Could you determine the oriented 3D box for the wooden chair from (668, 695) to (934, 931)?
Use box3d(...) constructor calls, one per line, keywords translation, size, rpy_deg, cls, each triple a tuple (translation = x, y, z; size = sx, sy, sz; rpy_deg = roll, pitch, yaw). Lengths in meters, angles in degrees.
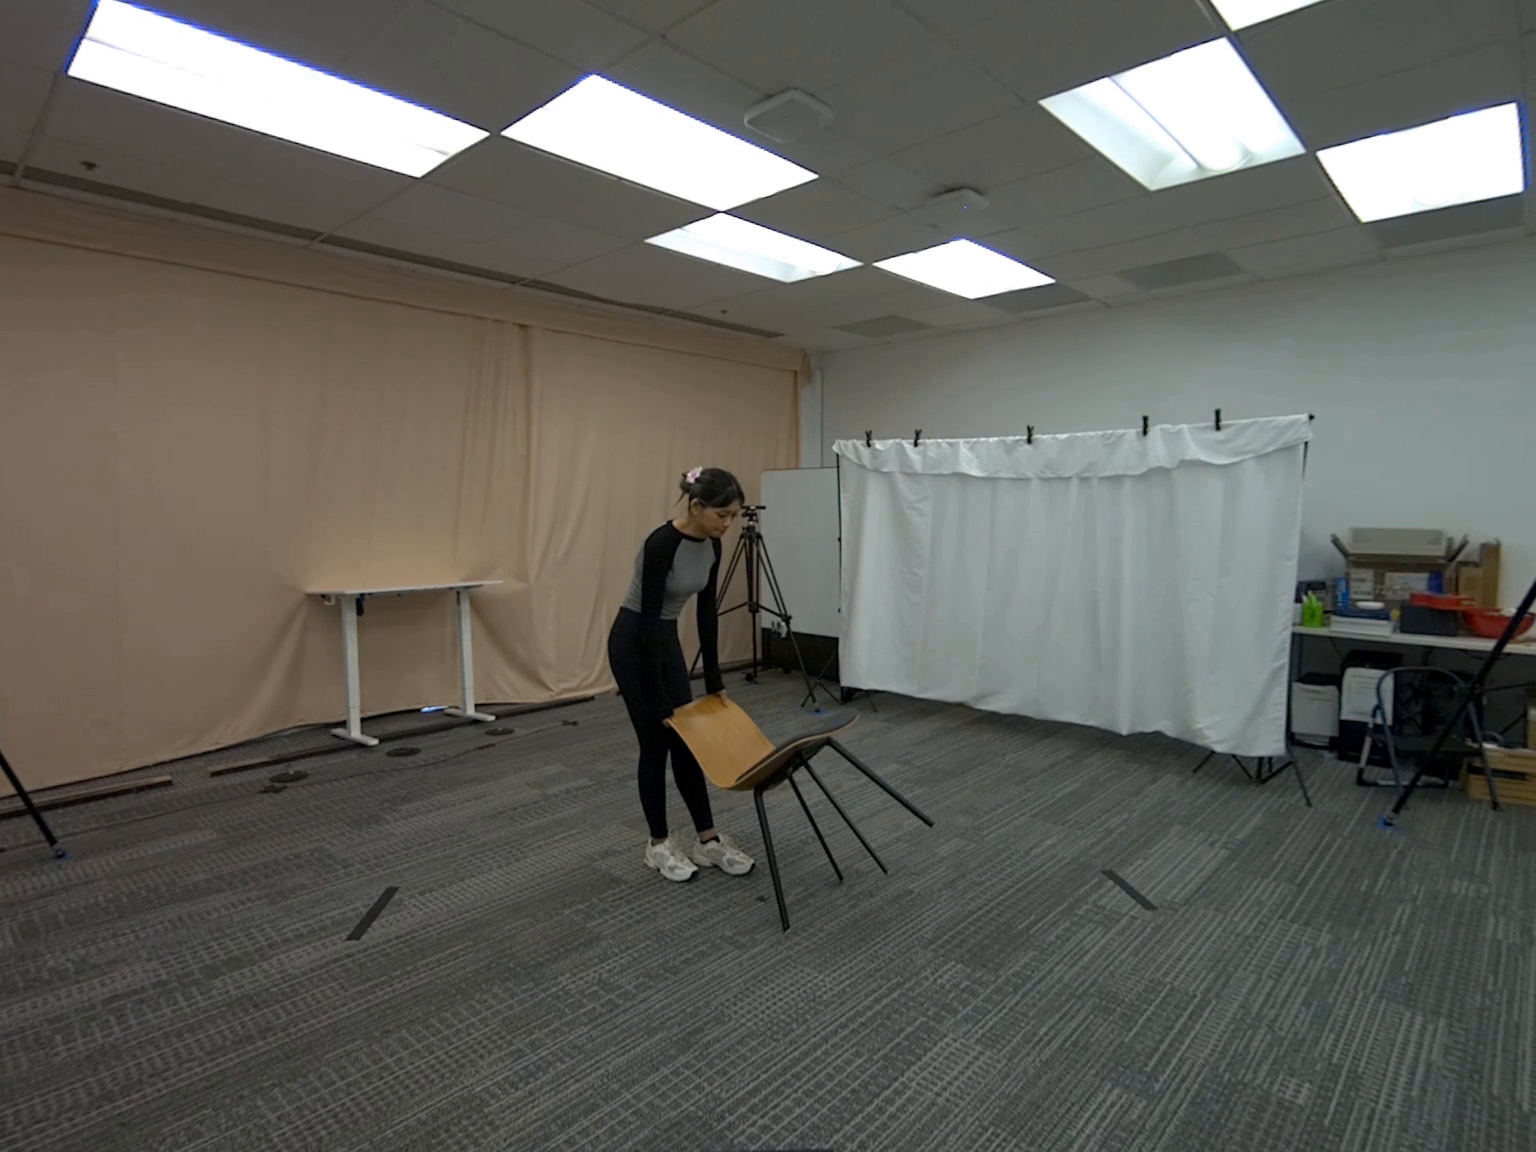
box3d(translation=(0.094, 0.667, 2.949), size=(0.526, 0.896, 0.465), rpy_deg=(-47, -21, 25), cls="wooden chair")
